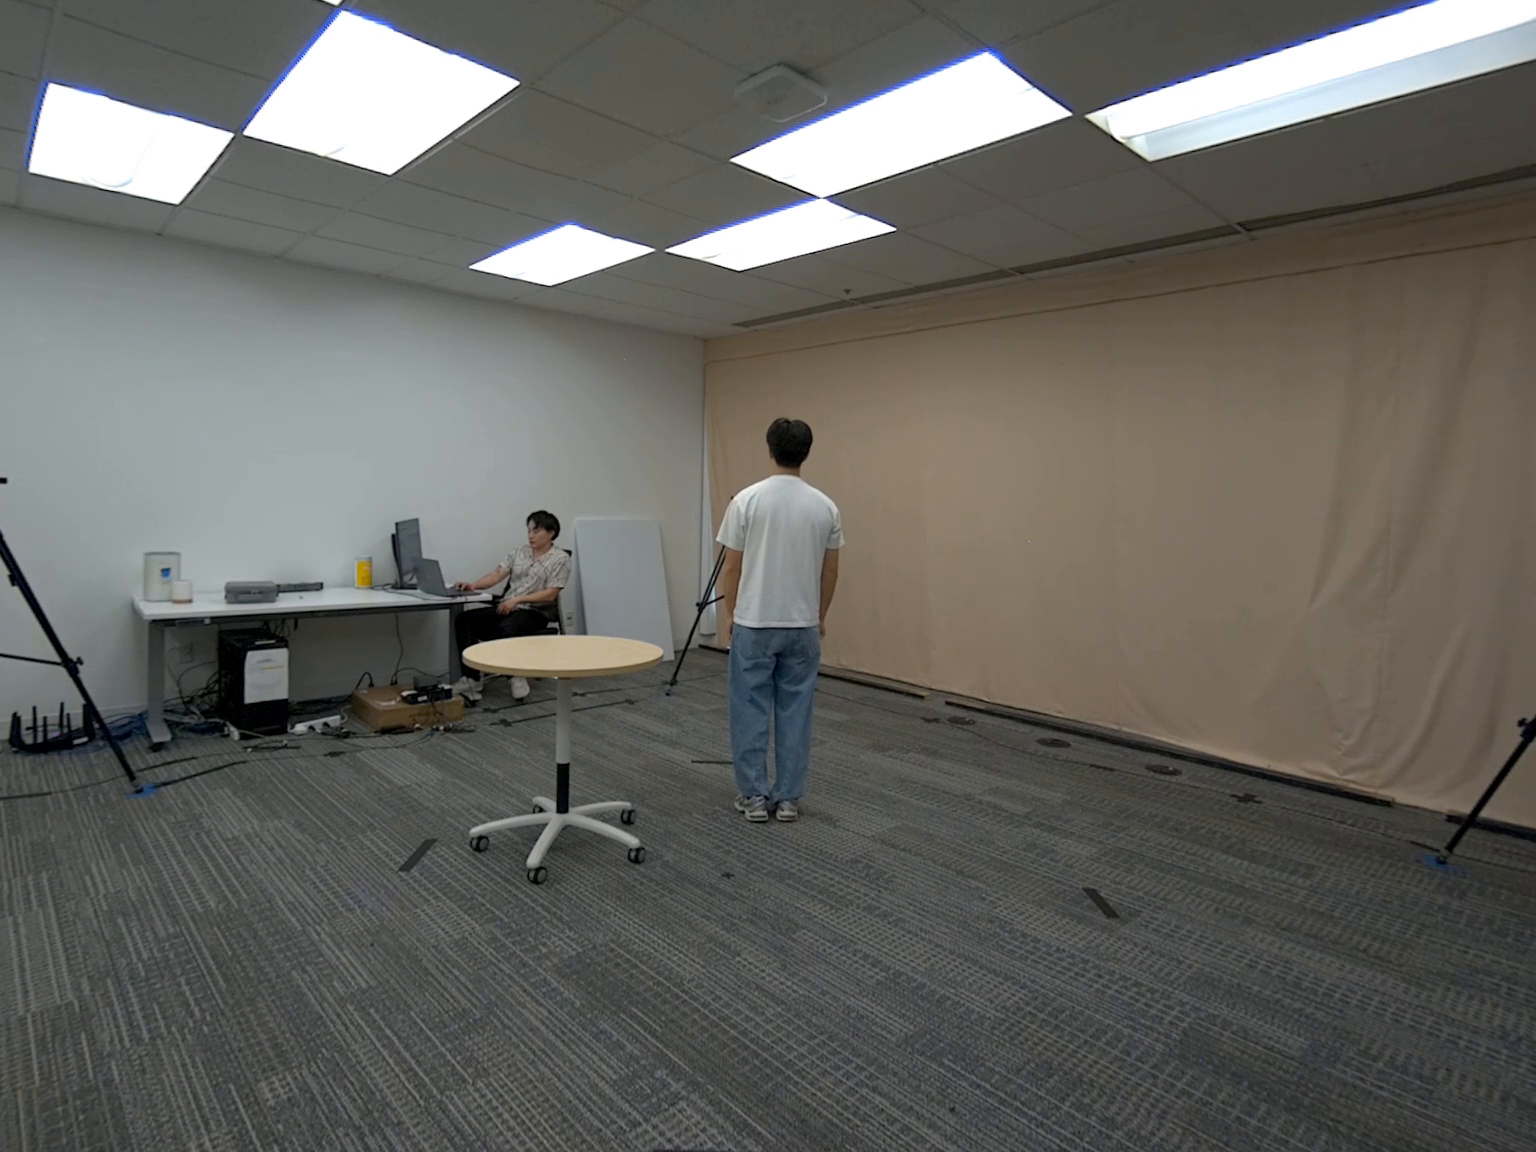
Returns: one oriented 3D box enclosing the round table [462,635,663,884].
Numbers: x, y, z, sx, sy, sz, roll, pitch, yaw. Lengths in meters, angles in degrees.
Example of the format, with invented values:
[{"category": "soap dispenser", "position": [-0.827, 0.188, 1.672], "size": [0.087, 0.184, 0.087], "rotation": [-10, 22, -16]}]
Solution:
[{"category": "round table", "position": [-0.803, 0.685, 3.312], "size": [0.763, 0.792, 0.766], "rotation": [1, 4, -1]}]
